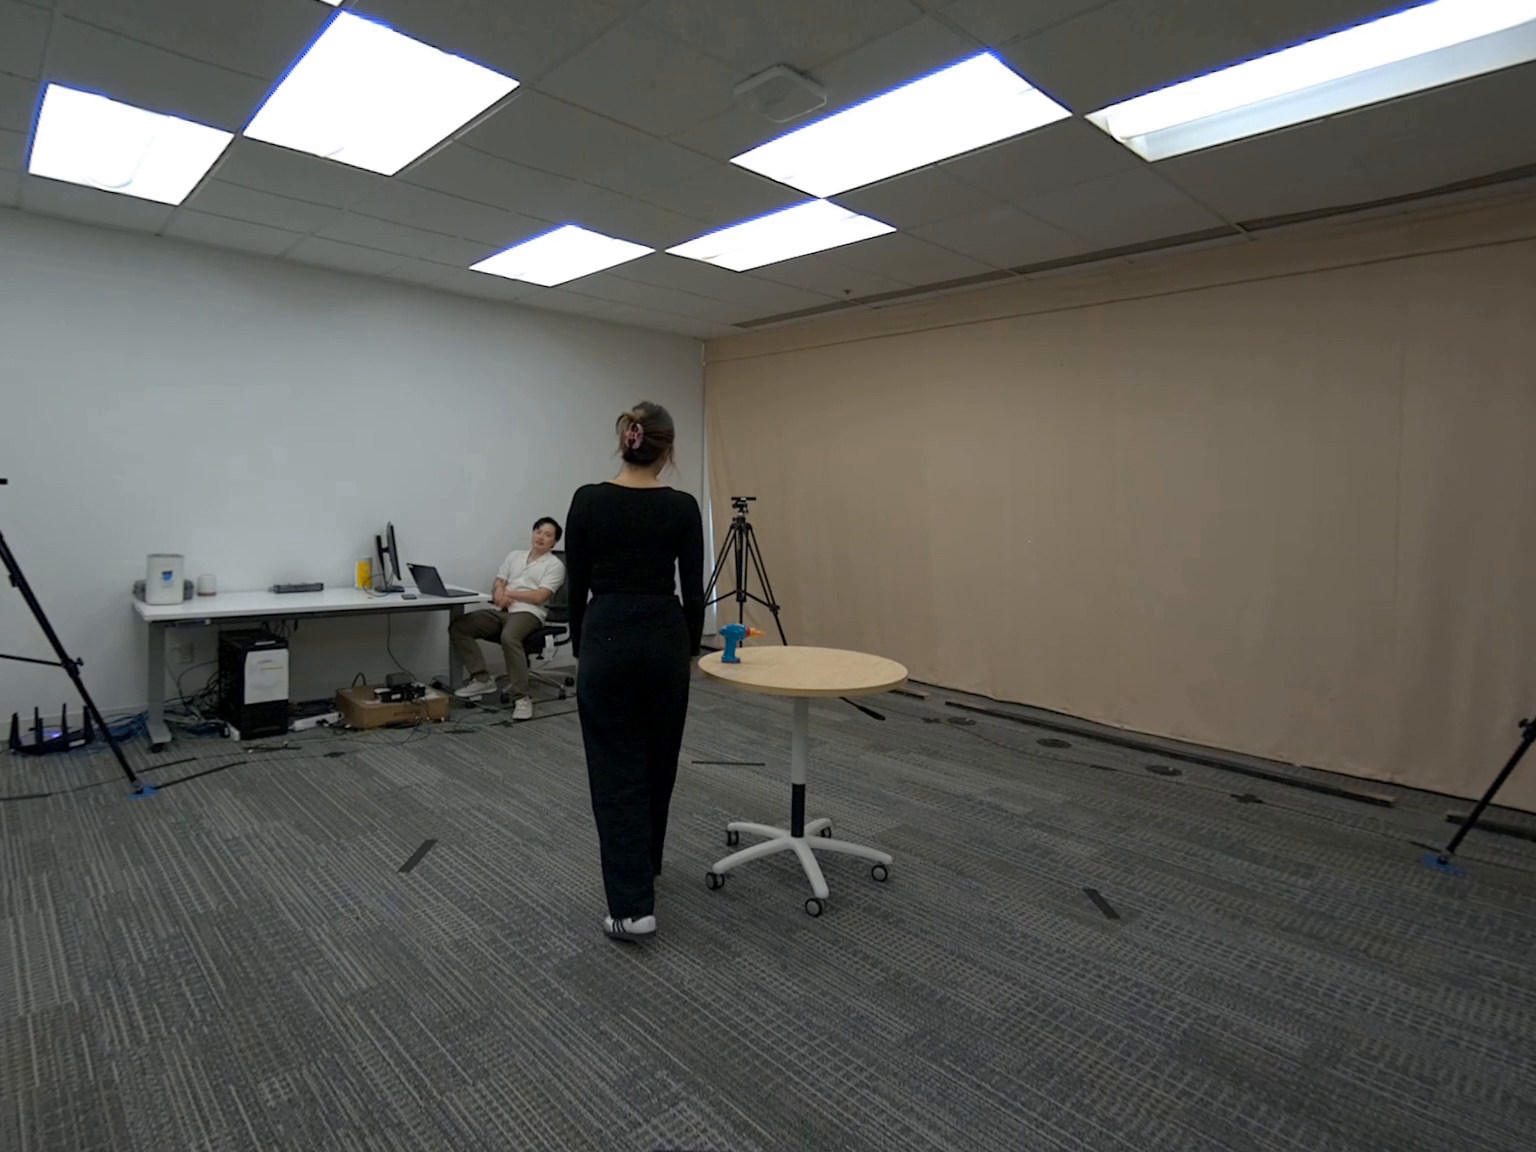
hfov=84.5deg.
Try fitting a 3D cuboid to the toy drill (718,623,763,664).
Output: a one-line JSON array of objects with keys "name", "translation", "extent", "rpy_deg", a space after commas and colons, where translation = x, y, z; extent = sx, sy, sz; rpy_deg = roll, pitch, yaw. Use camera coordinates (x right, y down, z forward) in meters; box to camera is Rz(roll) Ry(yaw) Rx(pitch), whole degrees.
[{"name": "toy drill", "translation": [-0.106, 0.252, 3.120], "extent": [0.170, 0.146, 0.061], "rpy_deg": [2, 2, 0]}]
